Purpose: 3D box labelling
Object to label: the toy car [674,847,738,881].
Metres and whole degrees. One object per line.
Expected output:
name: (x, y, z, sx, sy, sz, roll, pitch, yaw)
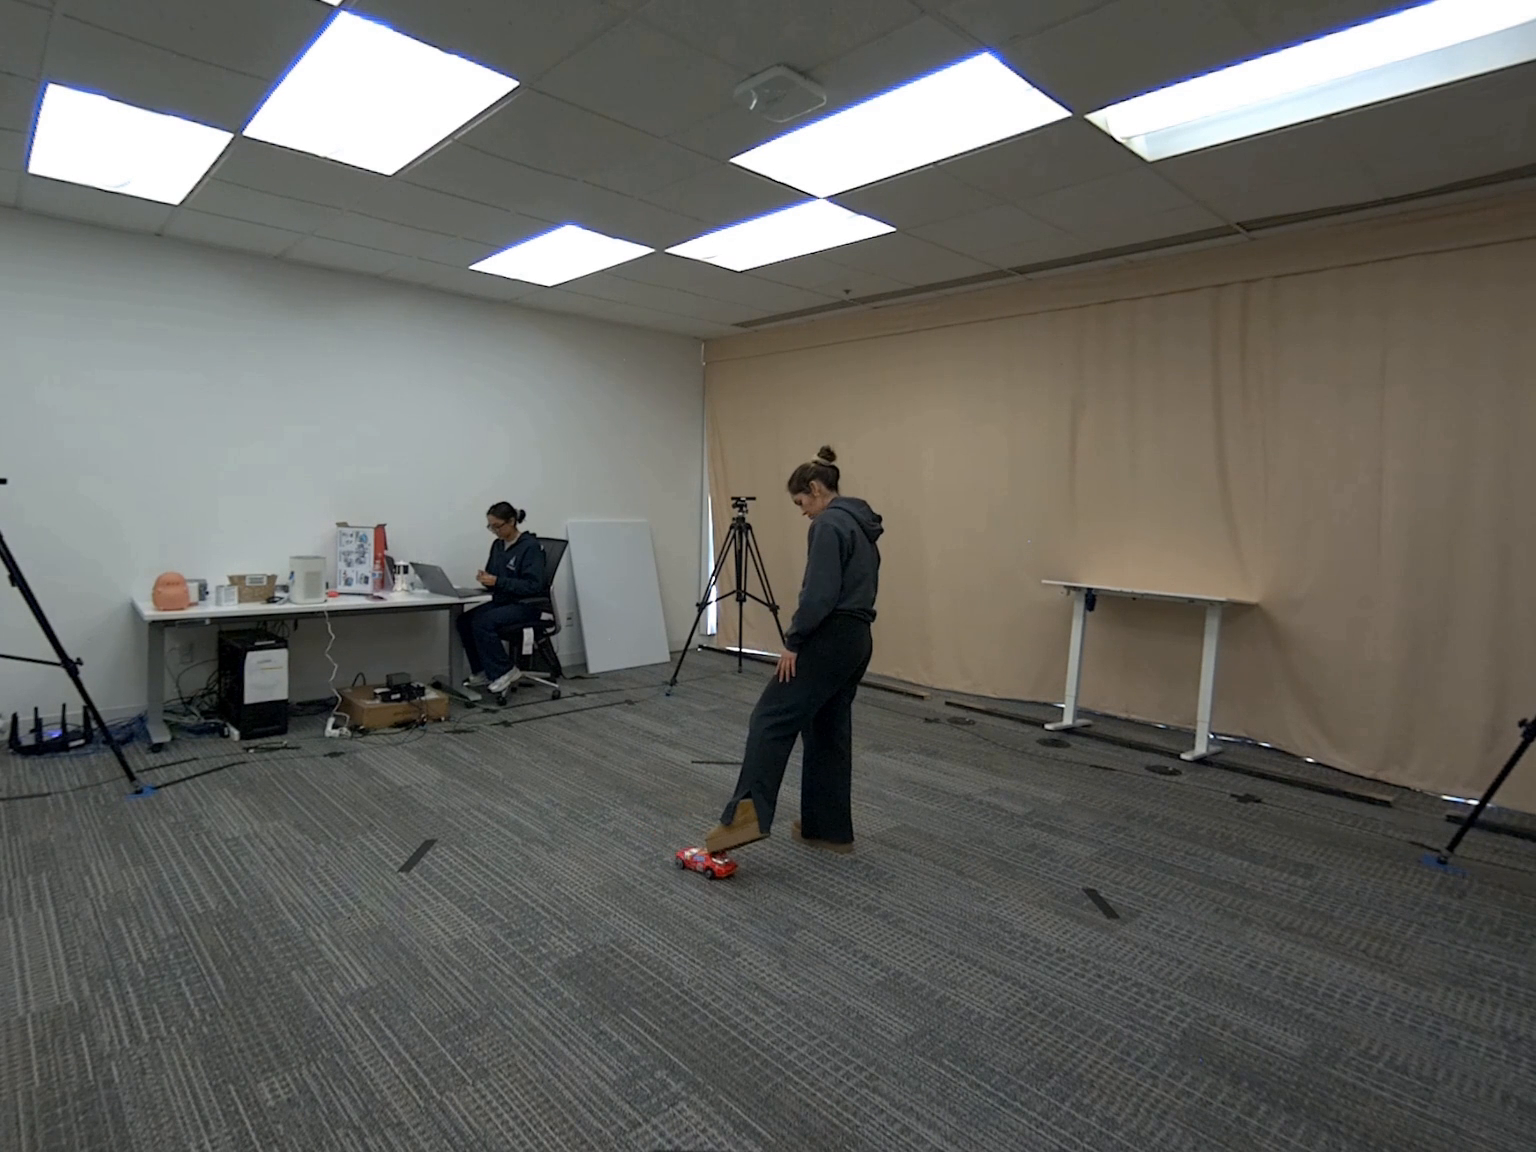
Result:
toy car: (-0.230, 1.070, 3.147, 0.260, 0.083, 0.127, -7, -1, 37)
